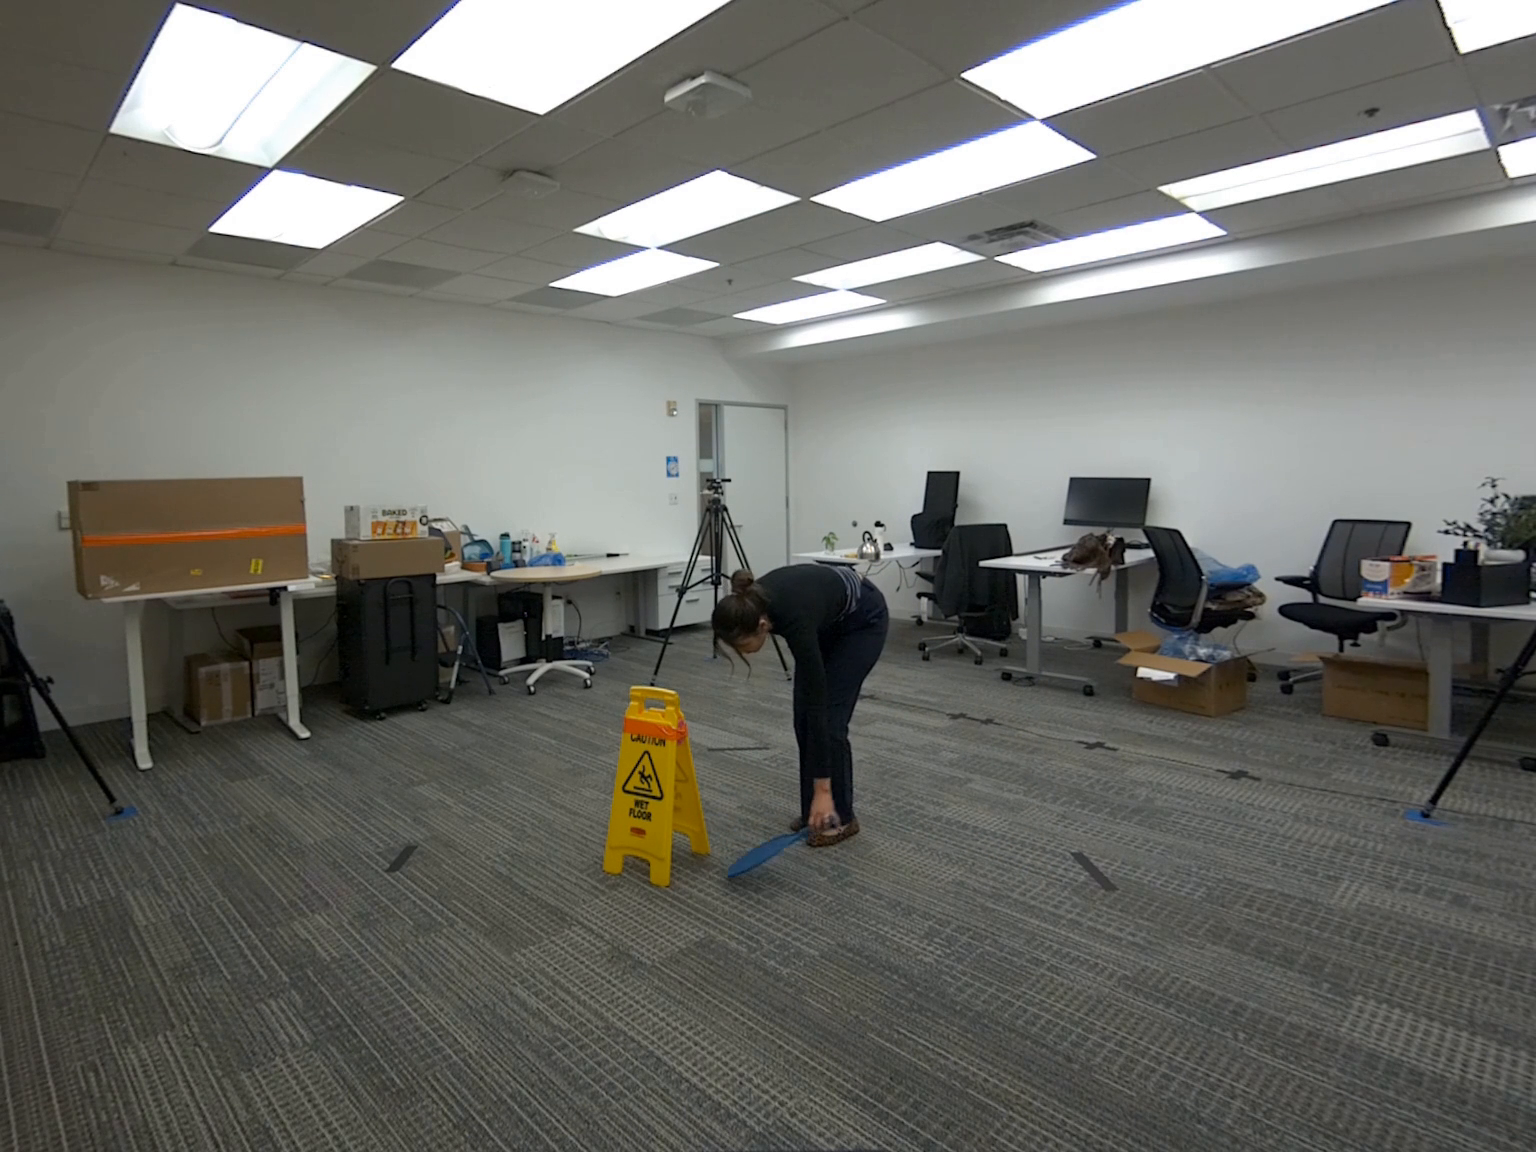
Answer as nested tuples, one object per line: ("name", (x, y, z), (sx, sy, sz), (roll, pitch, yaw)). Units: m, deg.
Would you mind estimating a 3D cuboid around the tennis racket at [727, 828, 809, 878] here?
("tennis racket", (0.017, 0.927, 2.940), (0.435, 0.032, 0.211), (-30, -4, 16))
